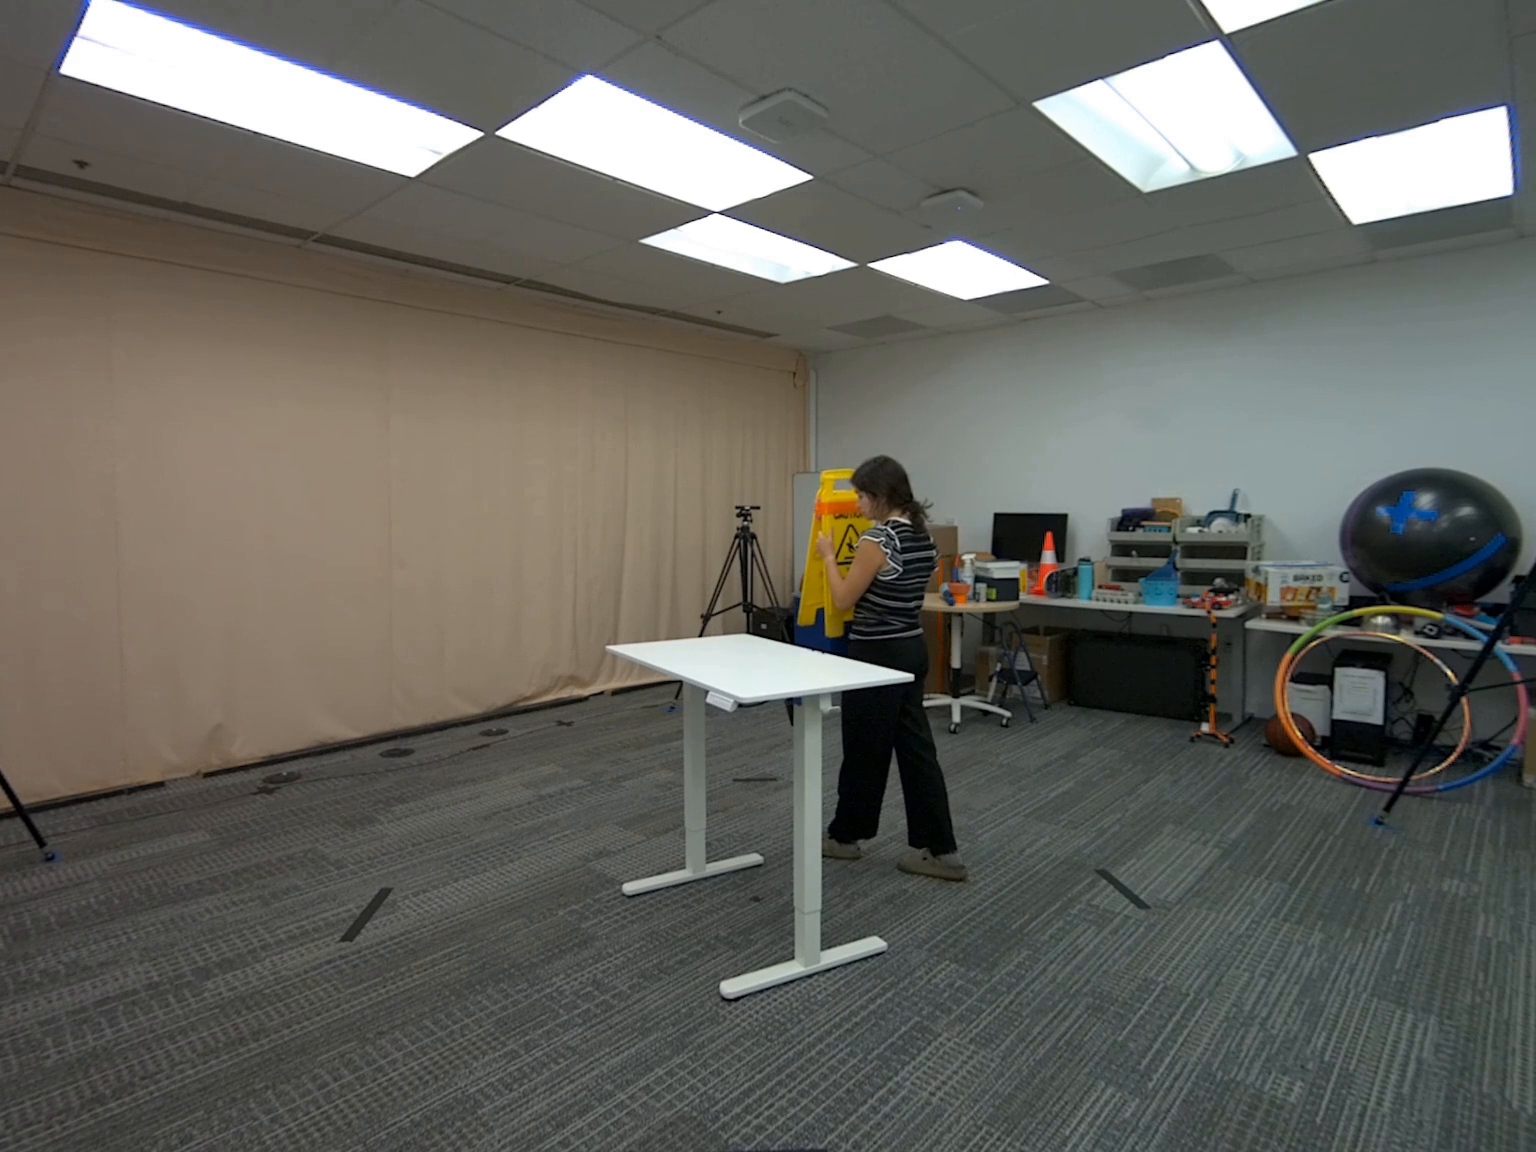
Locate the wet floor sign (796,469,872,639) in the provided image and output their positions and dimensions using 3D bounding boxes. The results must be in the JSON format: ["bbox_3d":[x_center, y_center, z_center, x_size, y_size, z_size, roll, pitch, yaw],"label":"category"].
[{"bbox_3d":[0.310,-0.104,3.433,0.276,0.642,0.298,-6,9,-26],"label":"wet floor sign"}]
